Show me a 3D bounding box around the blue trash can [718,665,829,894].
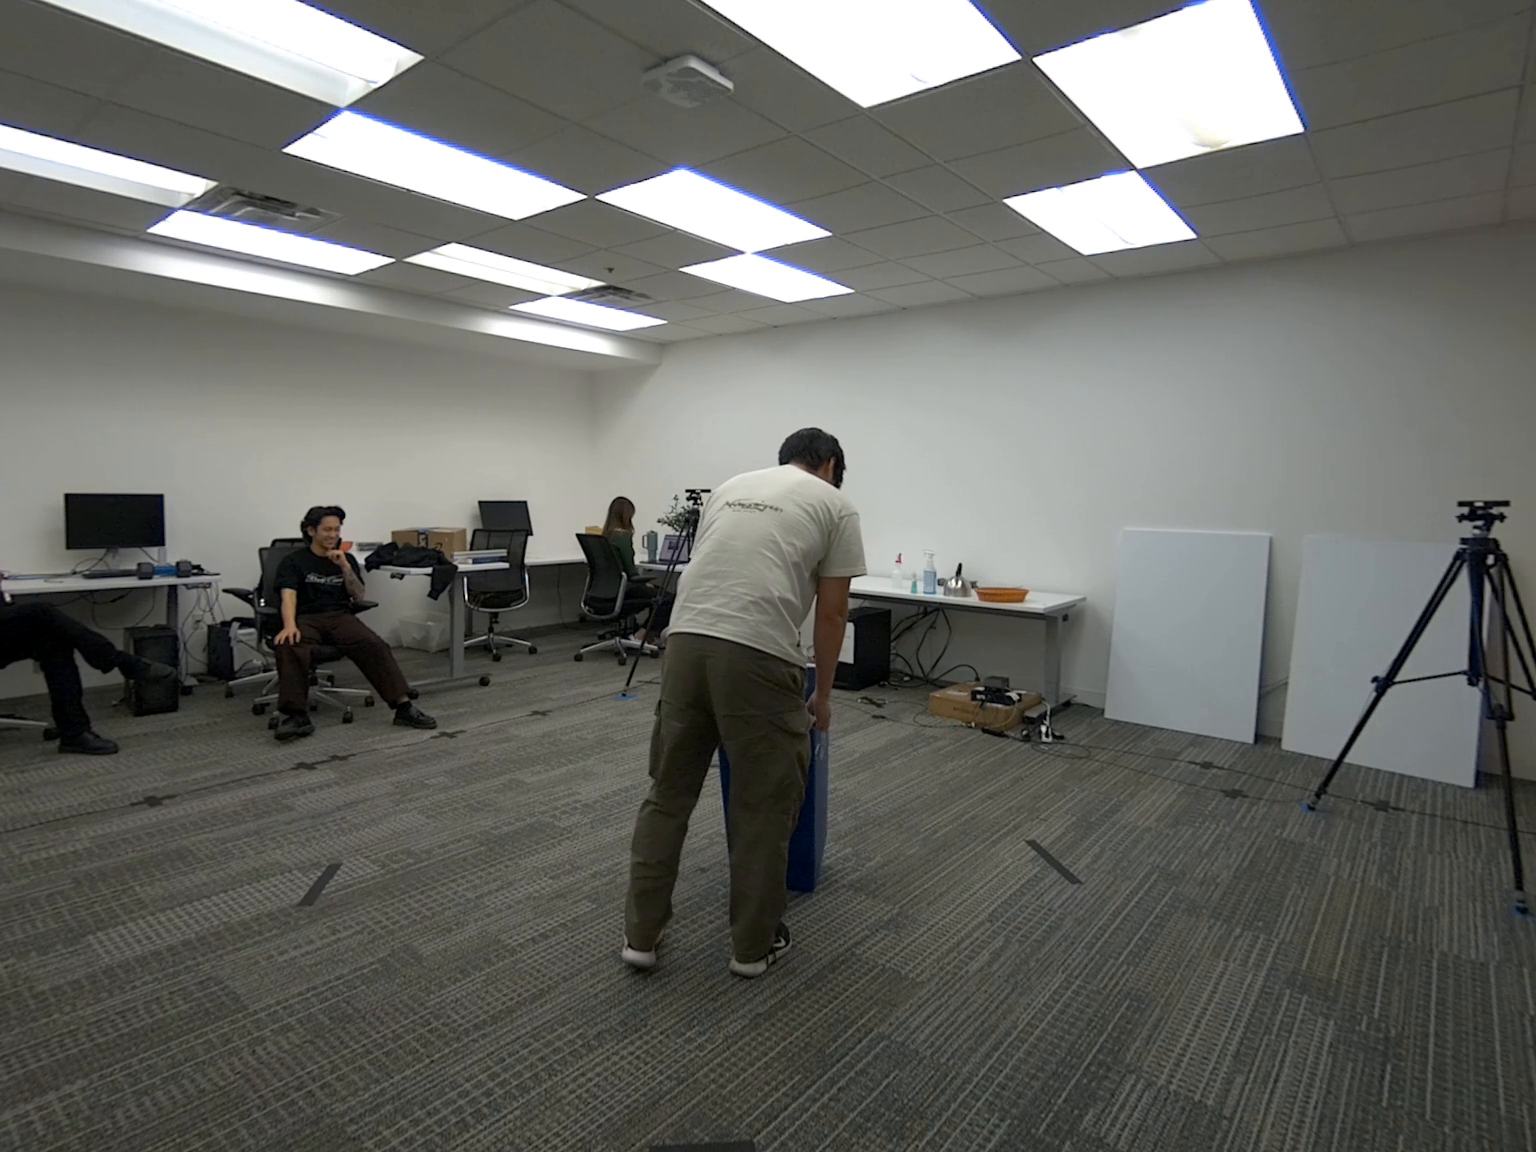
[{"bbox_3d":[0.024,0.700,3.004,0.384,0.699,0.375,3,22,14],"label":"blue trash can"}]
